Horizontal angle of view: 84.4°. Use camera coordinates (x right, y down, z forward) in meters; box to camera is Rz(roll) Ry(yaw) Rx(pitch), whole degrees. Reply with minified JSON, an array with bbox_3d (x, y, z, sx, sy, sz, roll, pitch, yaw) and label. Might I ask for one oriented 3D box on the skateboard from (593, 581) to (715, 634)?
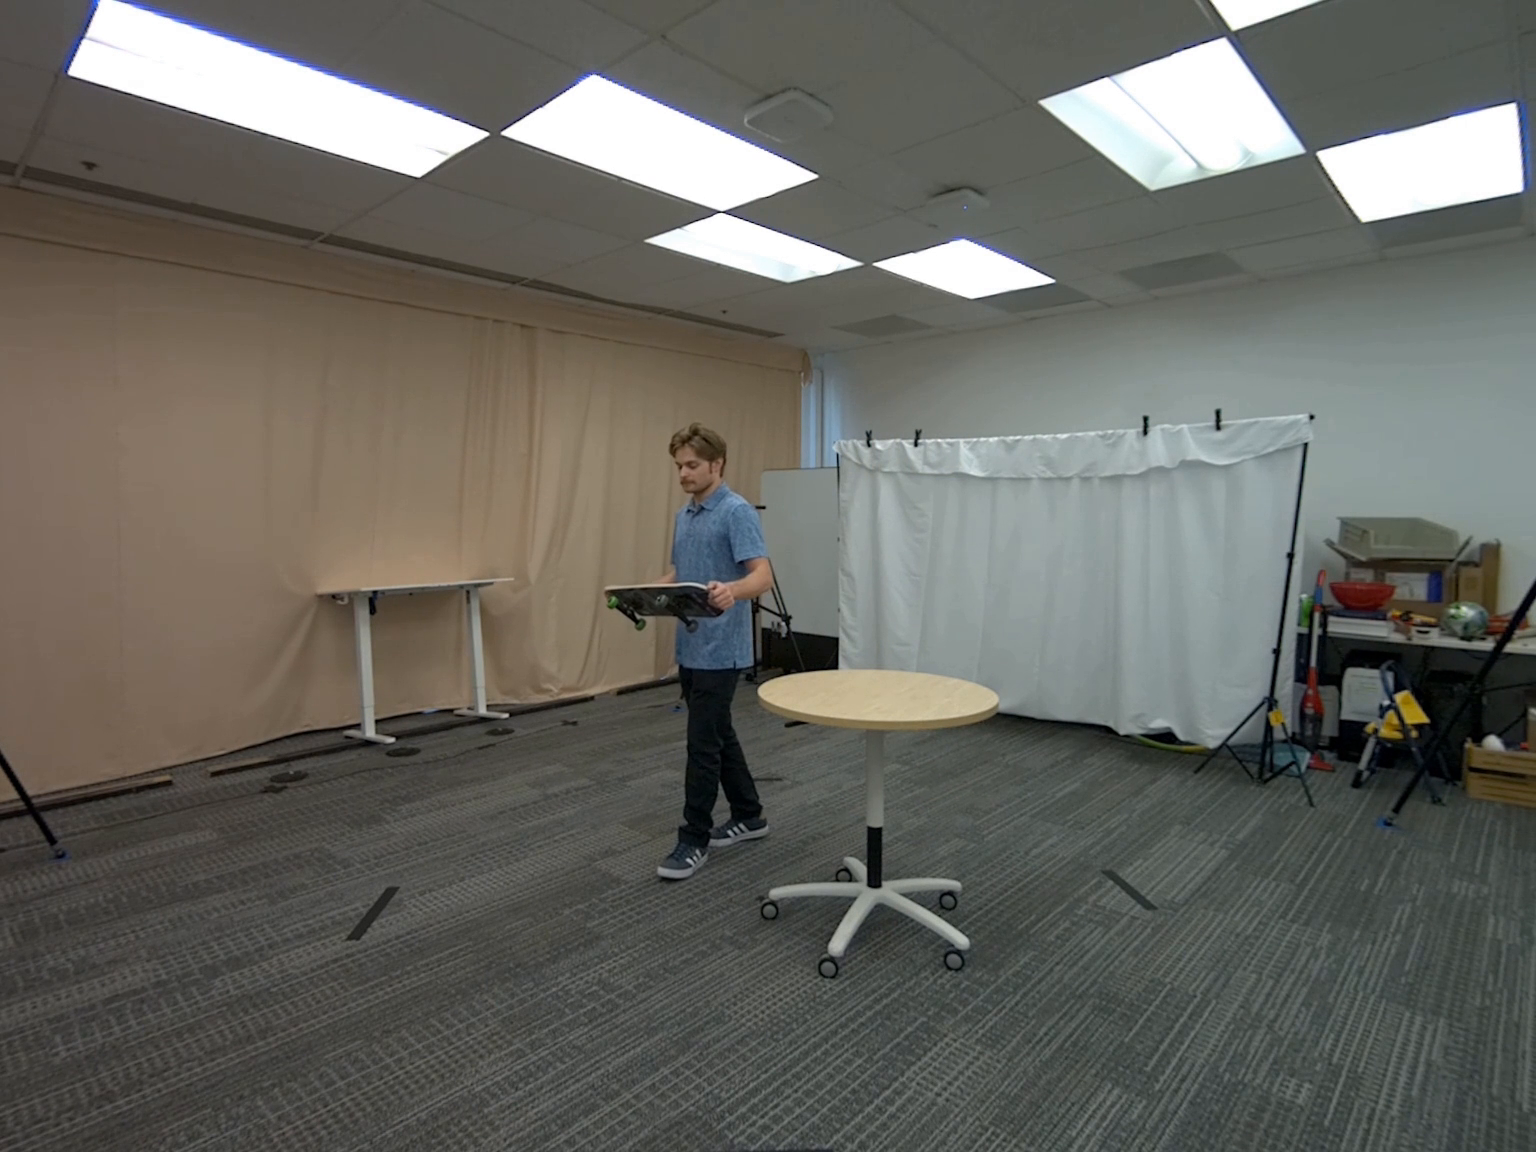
[{"bbox_3d":[-0.406,0.117,3.204,0.188,0.110,0.808,38,-21,-27],"label":"skateboard"}]
